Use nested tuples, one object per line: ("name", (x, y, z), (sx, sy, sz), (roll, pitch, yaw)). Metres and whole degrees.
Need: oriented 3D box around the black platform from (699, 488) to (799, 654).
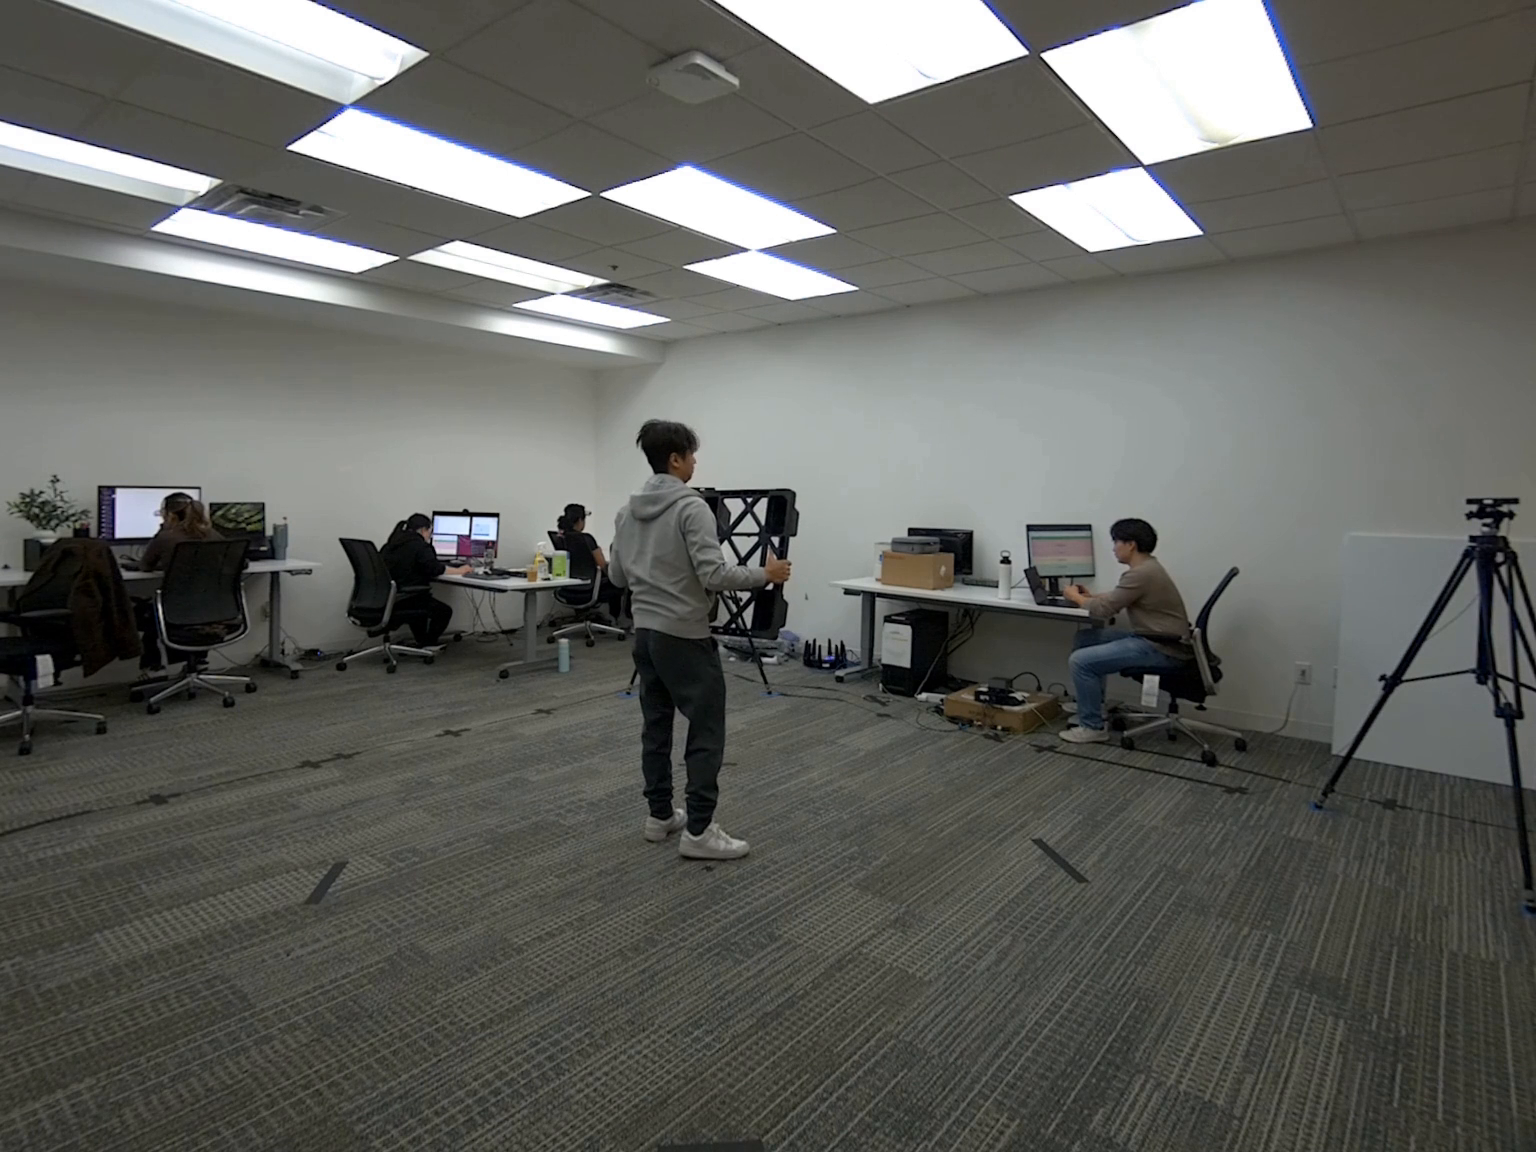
("black platform", (-0.247, -0.051, 3.567), (0.831, 0.609, 0.138), (2, -10, 36))
